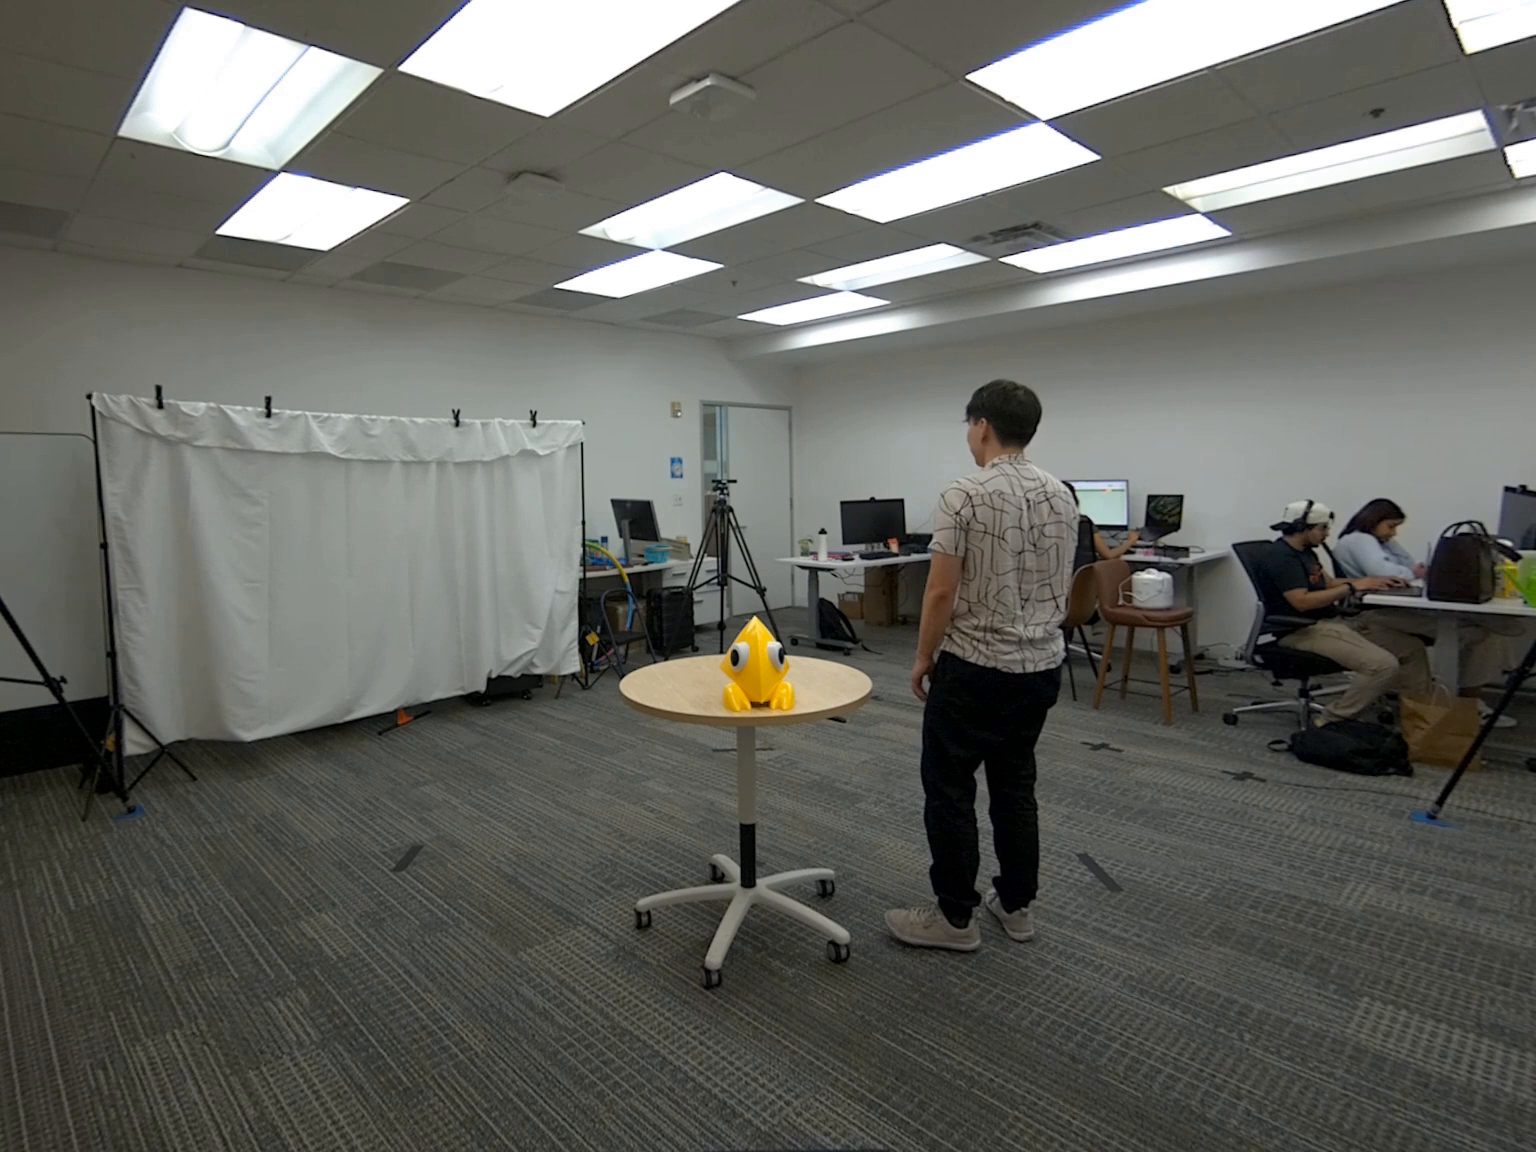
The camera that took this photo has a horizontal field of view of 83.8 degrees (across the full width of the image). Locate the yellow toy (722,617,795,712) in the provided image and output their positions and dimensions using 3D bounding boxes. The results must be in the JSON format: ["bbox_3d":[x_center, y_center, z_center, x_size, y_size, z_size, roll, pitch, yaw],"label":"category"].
[{"bbox_3d":[-0.026,0.233,2.360,0.204,0.230,0.194,-1,2,-6],"label":"yellow toy"}]
